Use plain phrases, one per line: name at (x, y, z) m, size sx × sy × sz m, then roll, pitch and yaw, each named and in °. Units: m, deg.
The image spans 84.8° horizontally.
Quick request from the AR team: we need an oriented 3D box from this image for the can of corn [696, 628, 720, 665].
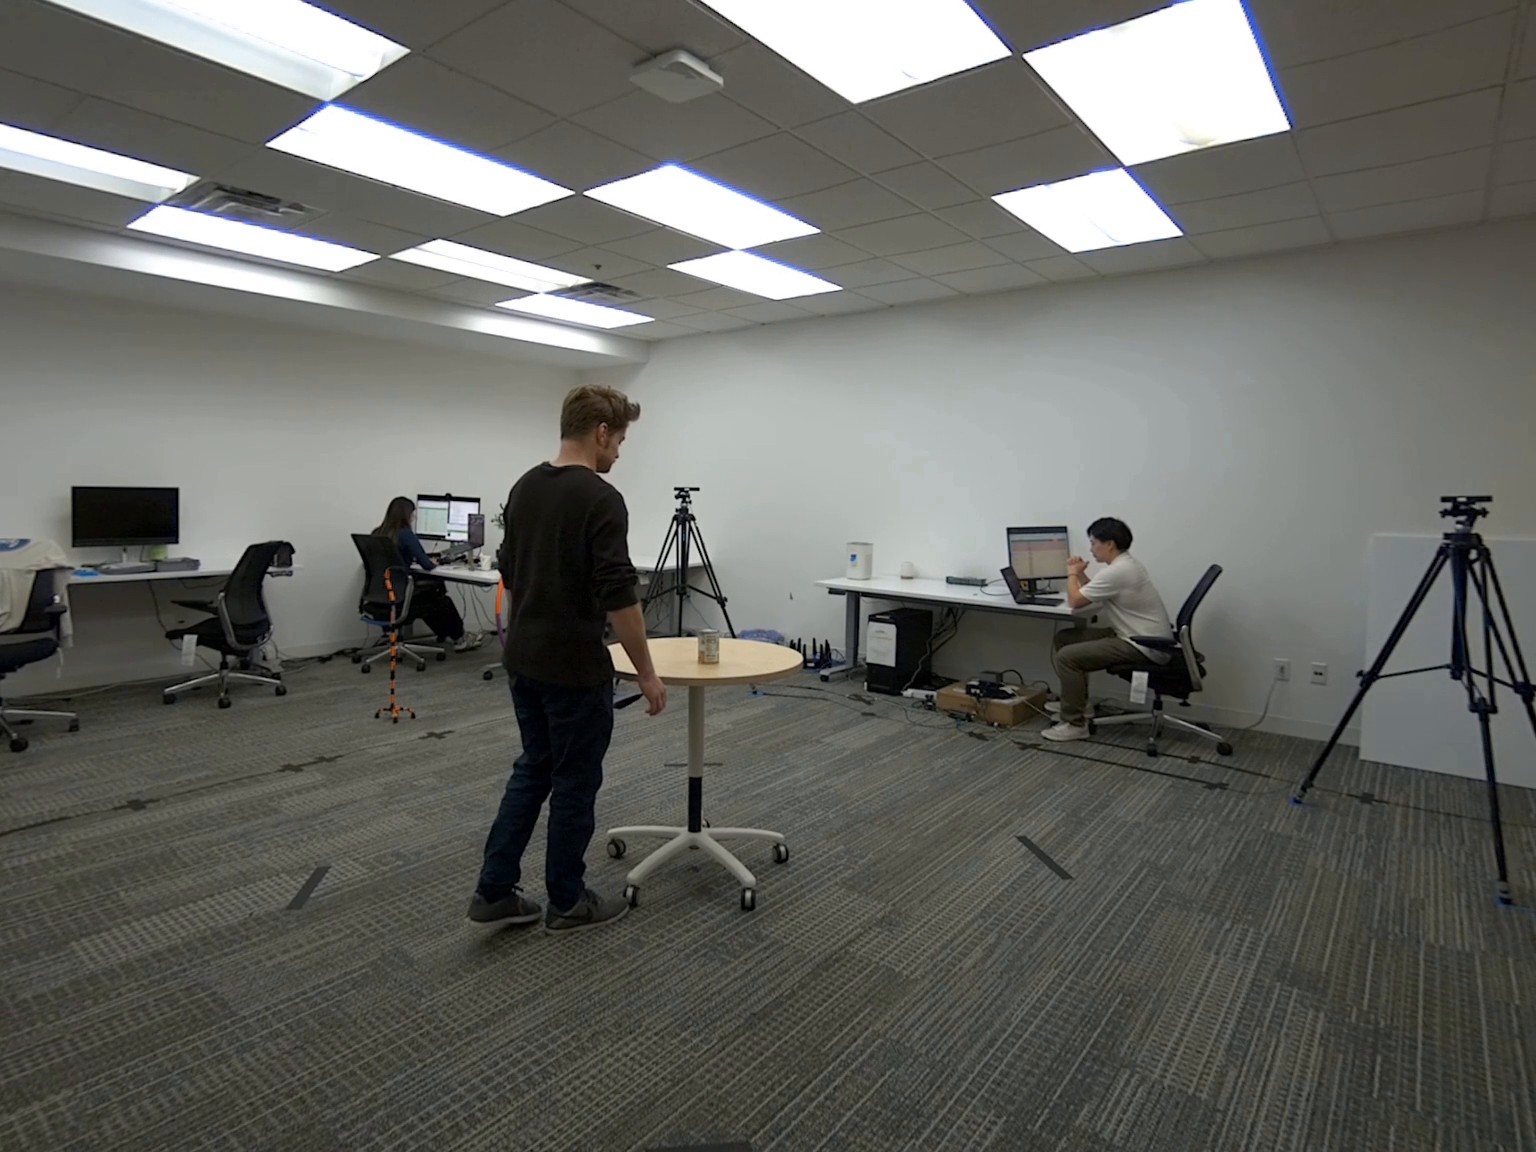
can of corn at (-0.214, 0.244, 2.944) m, size 0.074 × 0.111 × 0.074 m, roll 2°, pitch 3°, yaw -2°
